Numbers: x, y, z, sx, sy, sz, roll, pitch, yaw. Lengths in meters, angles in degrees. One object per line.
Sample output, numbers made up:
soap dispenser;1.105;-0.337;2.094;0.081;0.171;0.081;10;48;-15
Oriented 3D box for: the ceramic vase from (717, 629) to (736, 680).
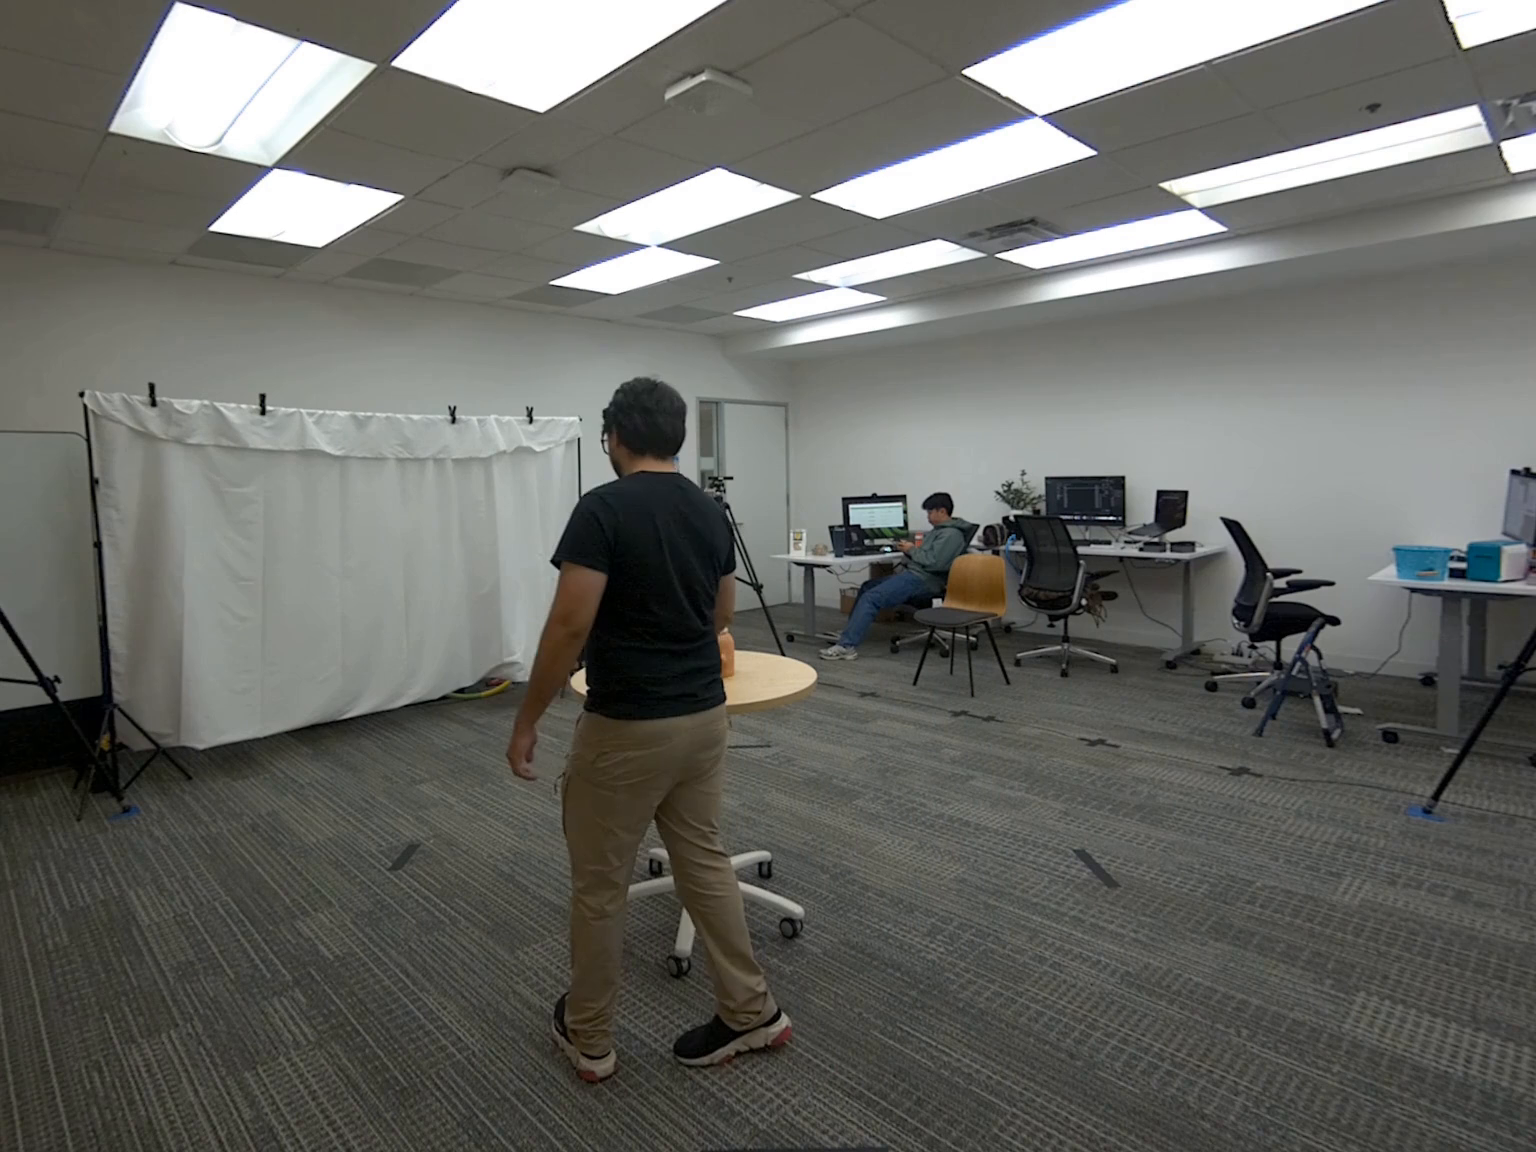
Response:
ceramic vase;-0.165;0.199;2.667;0.163;0.219;0.132;1;5;28
